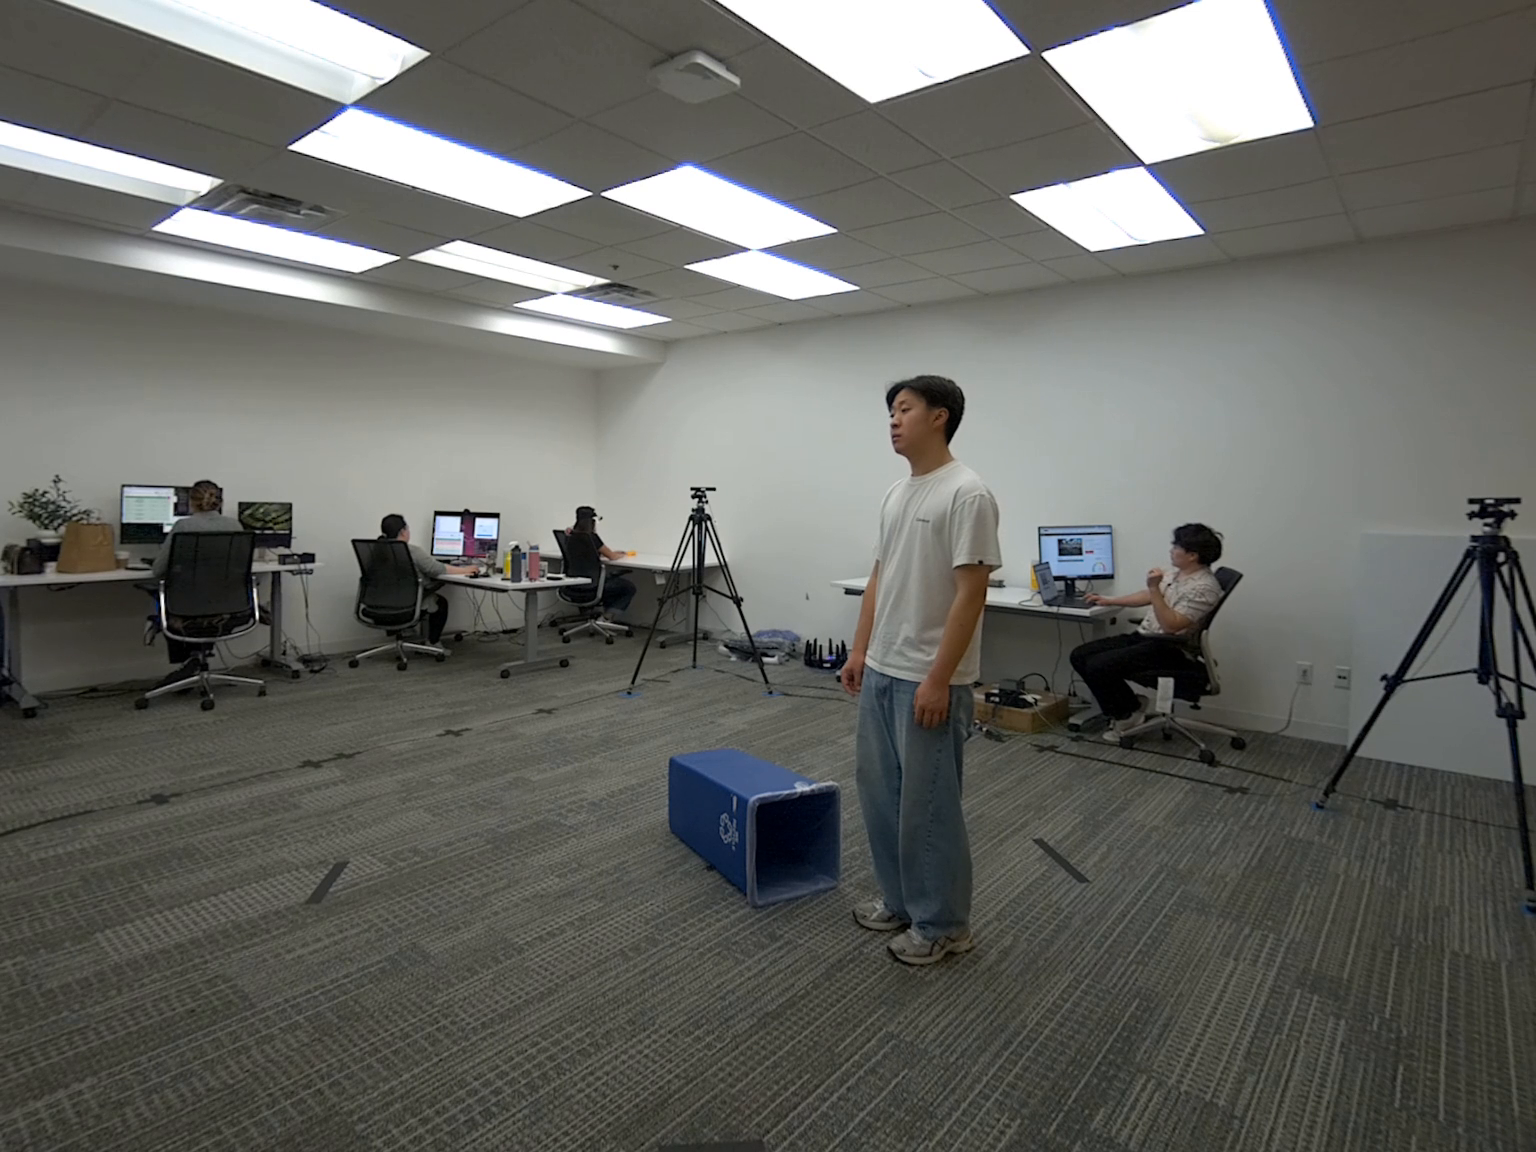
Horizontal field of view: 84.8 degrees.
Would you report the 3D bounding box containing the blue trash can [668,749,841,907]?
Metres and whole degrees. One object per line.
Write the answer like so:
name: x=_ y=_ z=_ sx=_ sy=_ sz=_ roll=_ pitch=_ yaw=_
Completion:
blue trash can: x=-0.103 y=0.894 z=3.200 sx=0.364 sy=0.377 sz=0.734 roll=-1 pitch=3 yaw=-31
